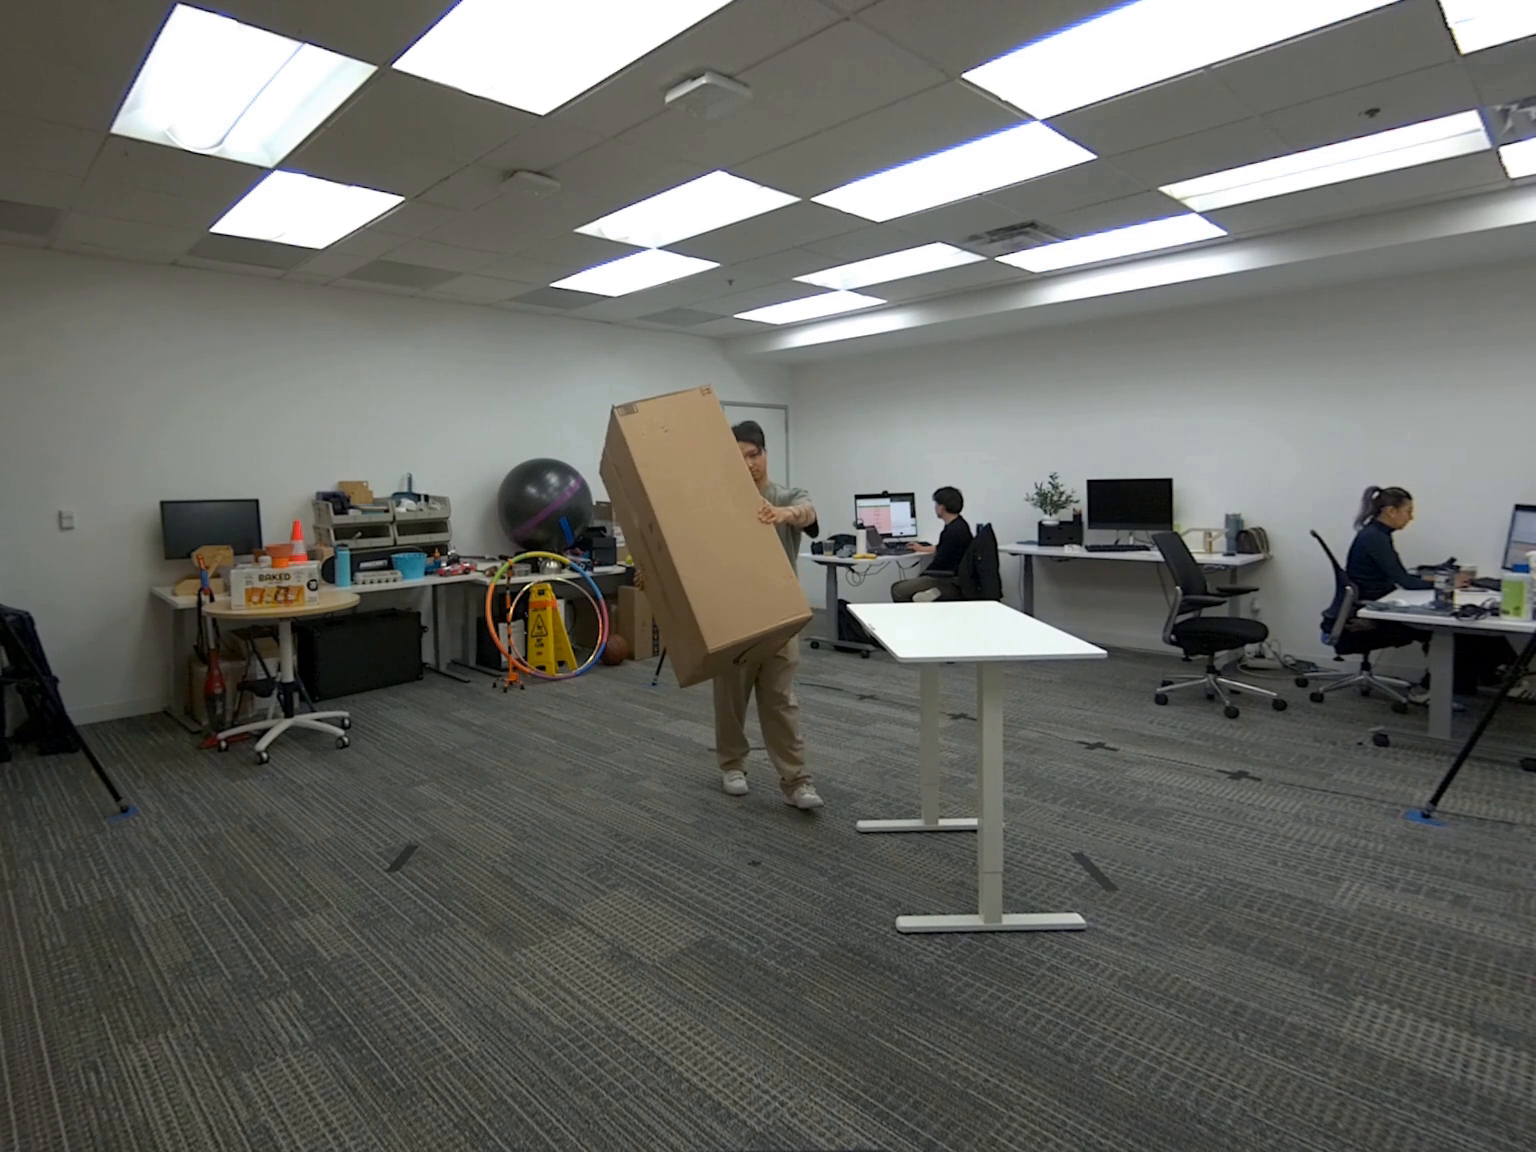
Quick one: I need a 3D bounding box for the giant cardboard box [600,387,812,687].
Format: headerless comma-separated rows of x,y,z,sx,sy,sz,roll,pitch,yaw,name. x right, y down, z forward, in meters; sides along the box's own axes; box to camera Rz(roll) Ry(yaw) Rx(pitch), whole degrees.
-0.282,-0.153,3.427,0.420,1.047,0.573,-17,-17,-21,giant cardboard box
